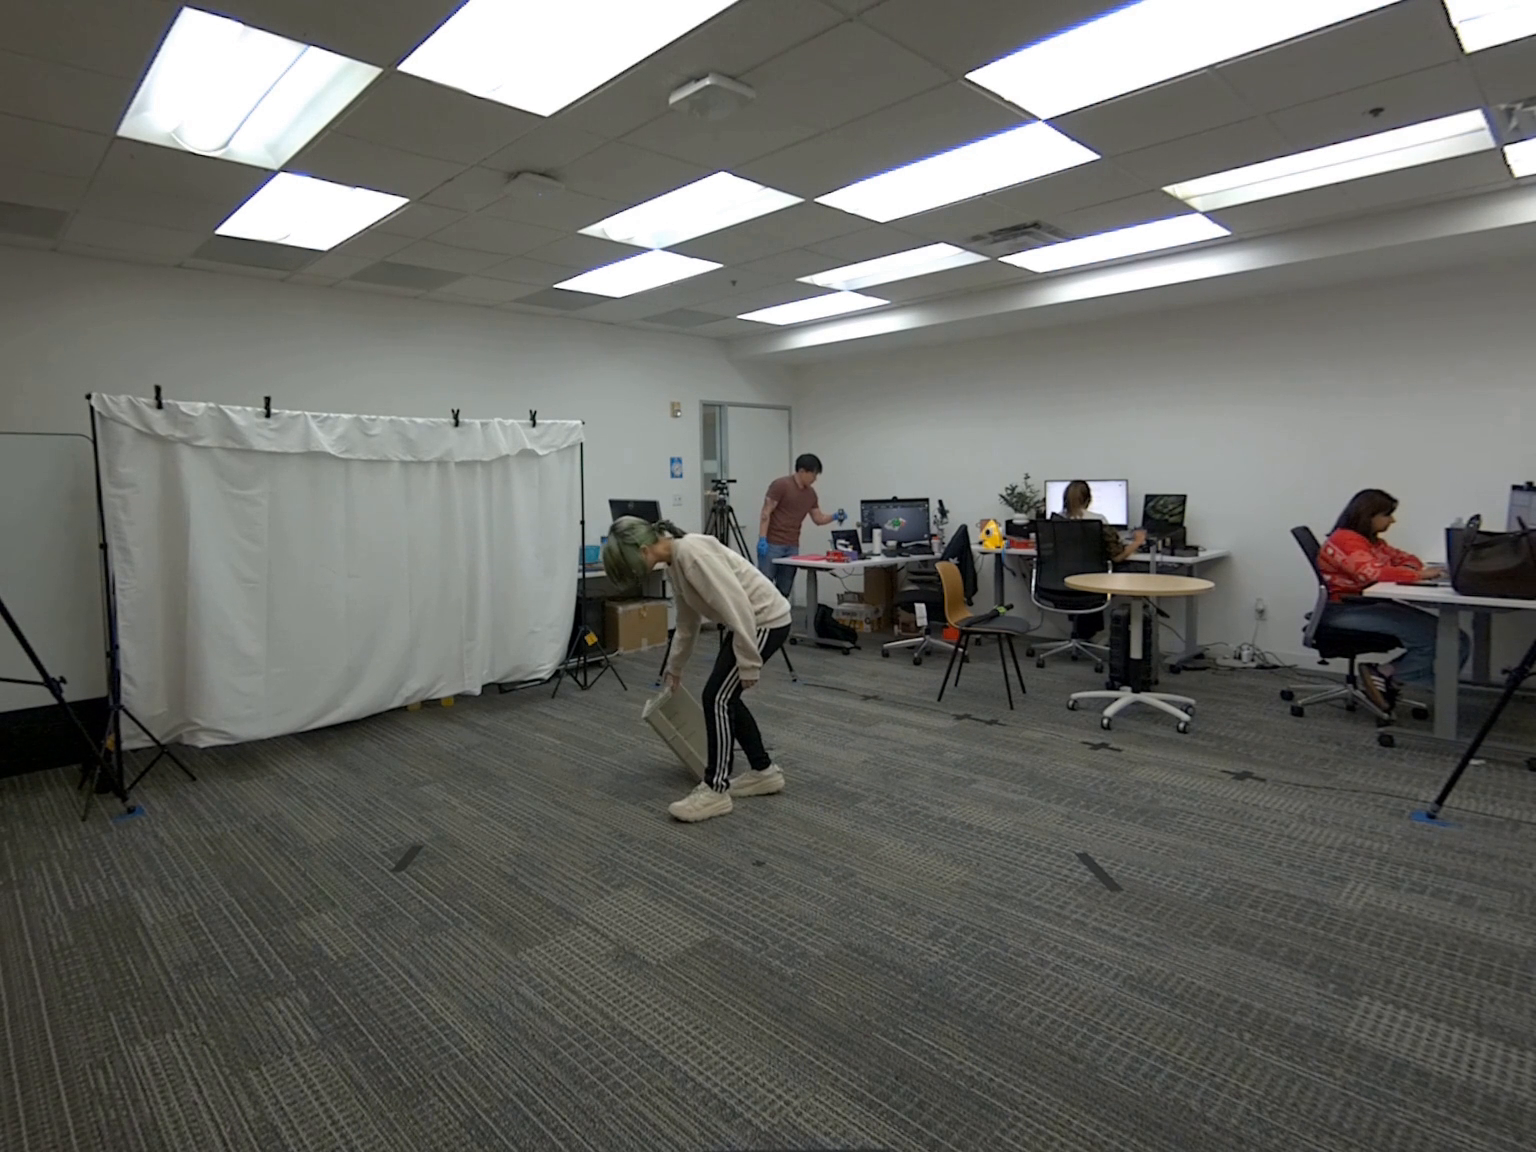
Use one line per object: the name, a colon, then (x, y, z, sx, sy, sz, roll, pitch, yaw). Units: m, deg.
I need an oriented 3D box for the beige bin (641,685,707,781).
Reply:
beige bin: (-0.392, 0.736, 4.064, 0.189, 0.420, 0.379, -41, 5, 2)
